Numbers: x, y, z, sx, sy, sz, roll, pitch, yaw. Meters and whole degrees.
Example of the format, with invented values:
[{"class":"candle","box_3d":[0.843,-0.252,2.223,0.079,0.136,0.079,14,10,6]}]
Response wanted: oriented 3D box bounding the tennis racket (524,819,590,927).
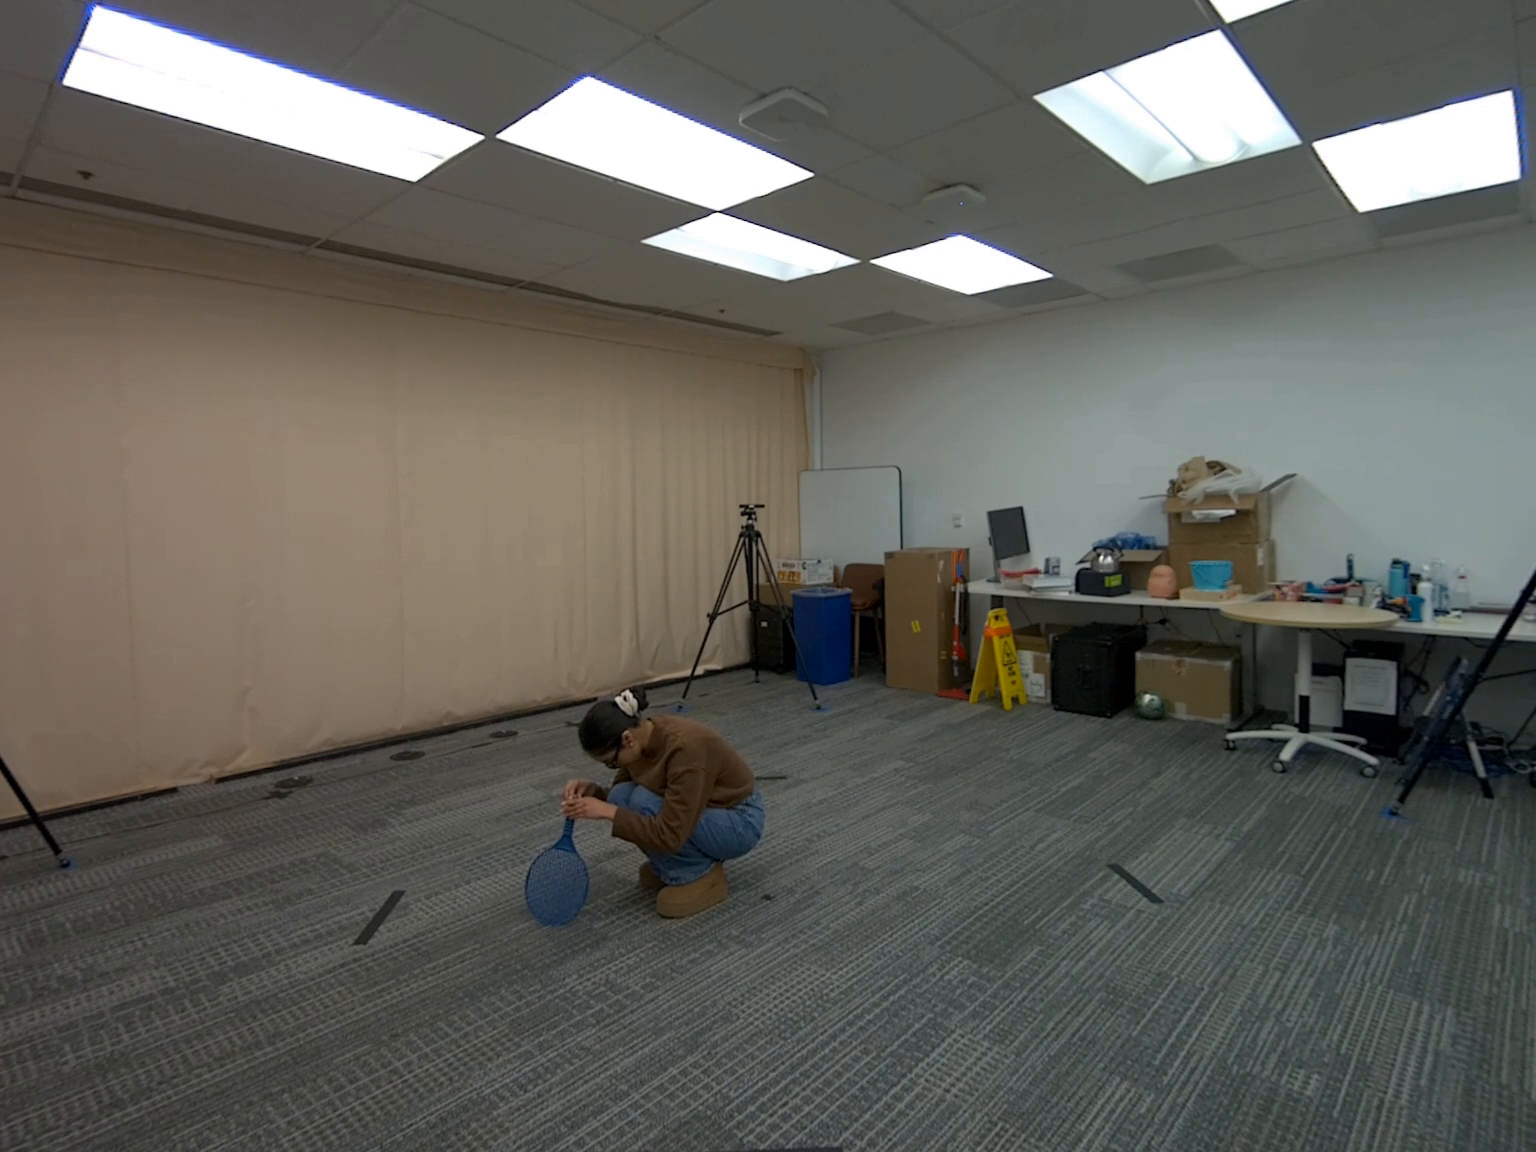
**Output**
[{"class":"tennis racket","box_3d":[-0.691,0.965,2.822,0.213,0.433,0.032,14,-1,-1]}]
